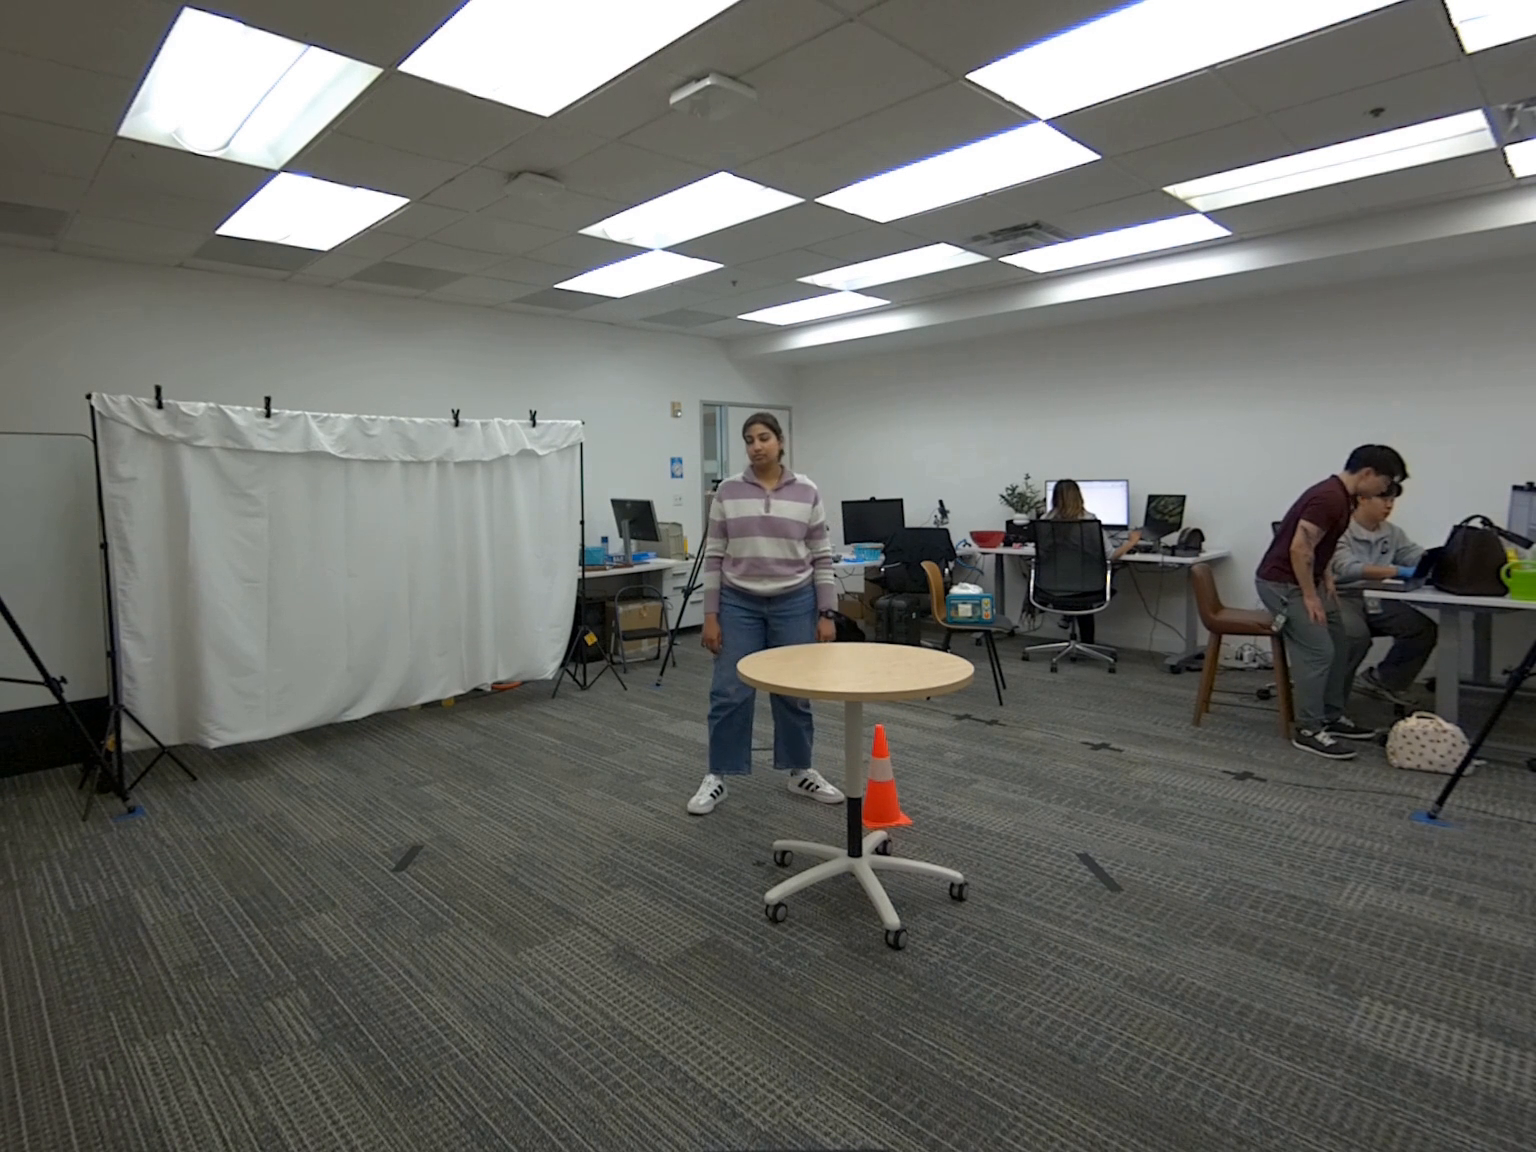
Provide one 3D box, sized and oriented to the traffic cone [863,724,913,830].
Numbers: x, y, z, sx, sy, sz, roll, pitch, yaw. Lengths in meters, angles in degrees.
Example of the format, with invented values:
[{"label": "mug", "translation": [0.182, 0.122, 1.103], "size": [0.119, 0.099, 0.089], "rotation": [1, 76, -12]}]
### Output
[{"label": "traffic cone", "translation": [0.461, 0.810, 3.515], "size": [0.202, 0.382, 0.207], "rotation": [-2, 5, -15]}]
